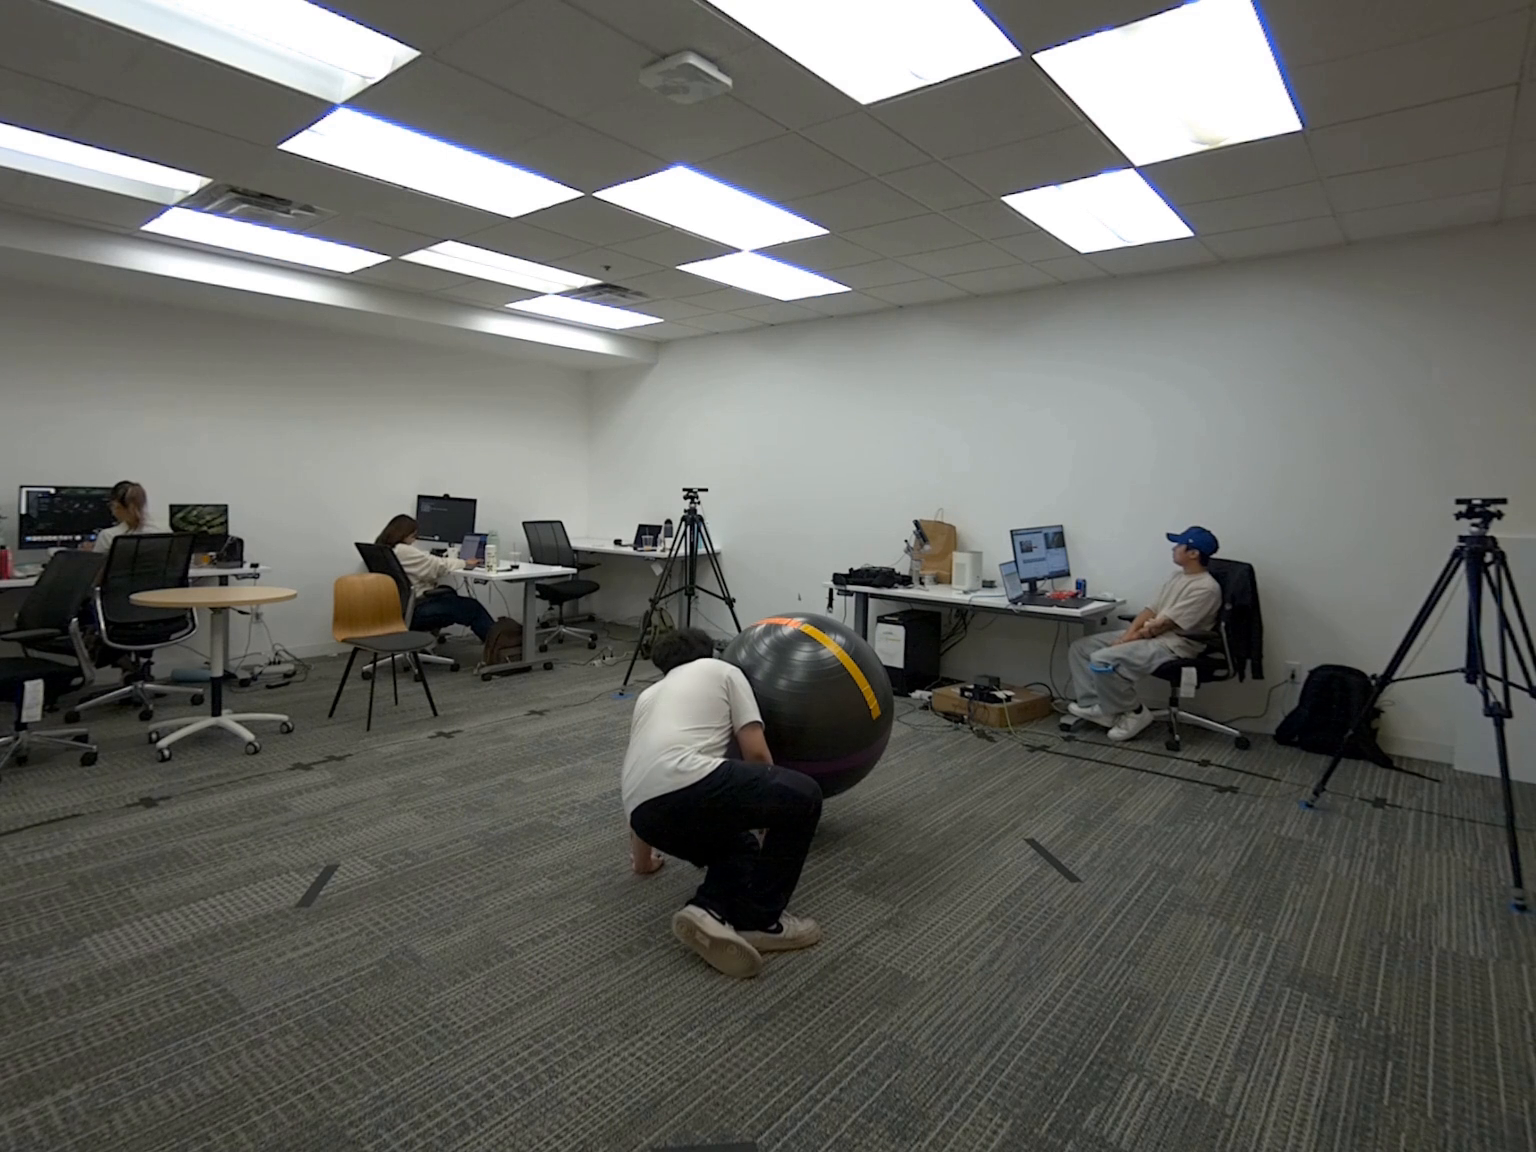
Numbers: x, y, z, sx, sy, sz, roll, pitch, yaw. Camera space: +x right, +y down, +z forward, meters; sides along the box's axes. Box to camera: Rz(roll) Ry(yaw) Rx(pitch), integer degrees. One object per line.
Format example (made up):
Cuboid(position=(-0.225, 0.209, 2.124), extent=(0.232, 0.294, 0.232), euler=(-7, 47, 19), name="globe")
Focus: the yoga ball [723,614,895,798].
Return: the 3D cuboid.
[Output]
Cuboid(position=(0.130, 0.526, 3.491), extent=(0.757, 0.756, 0.761), euler=(1, 4, -2), name="yoga ball")
